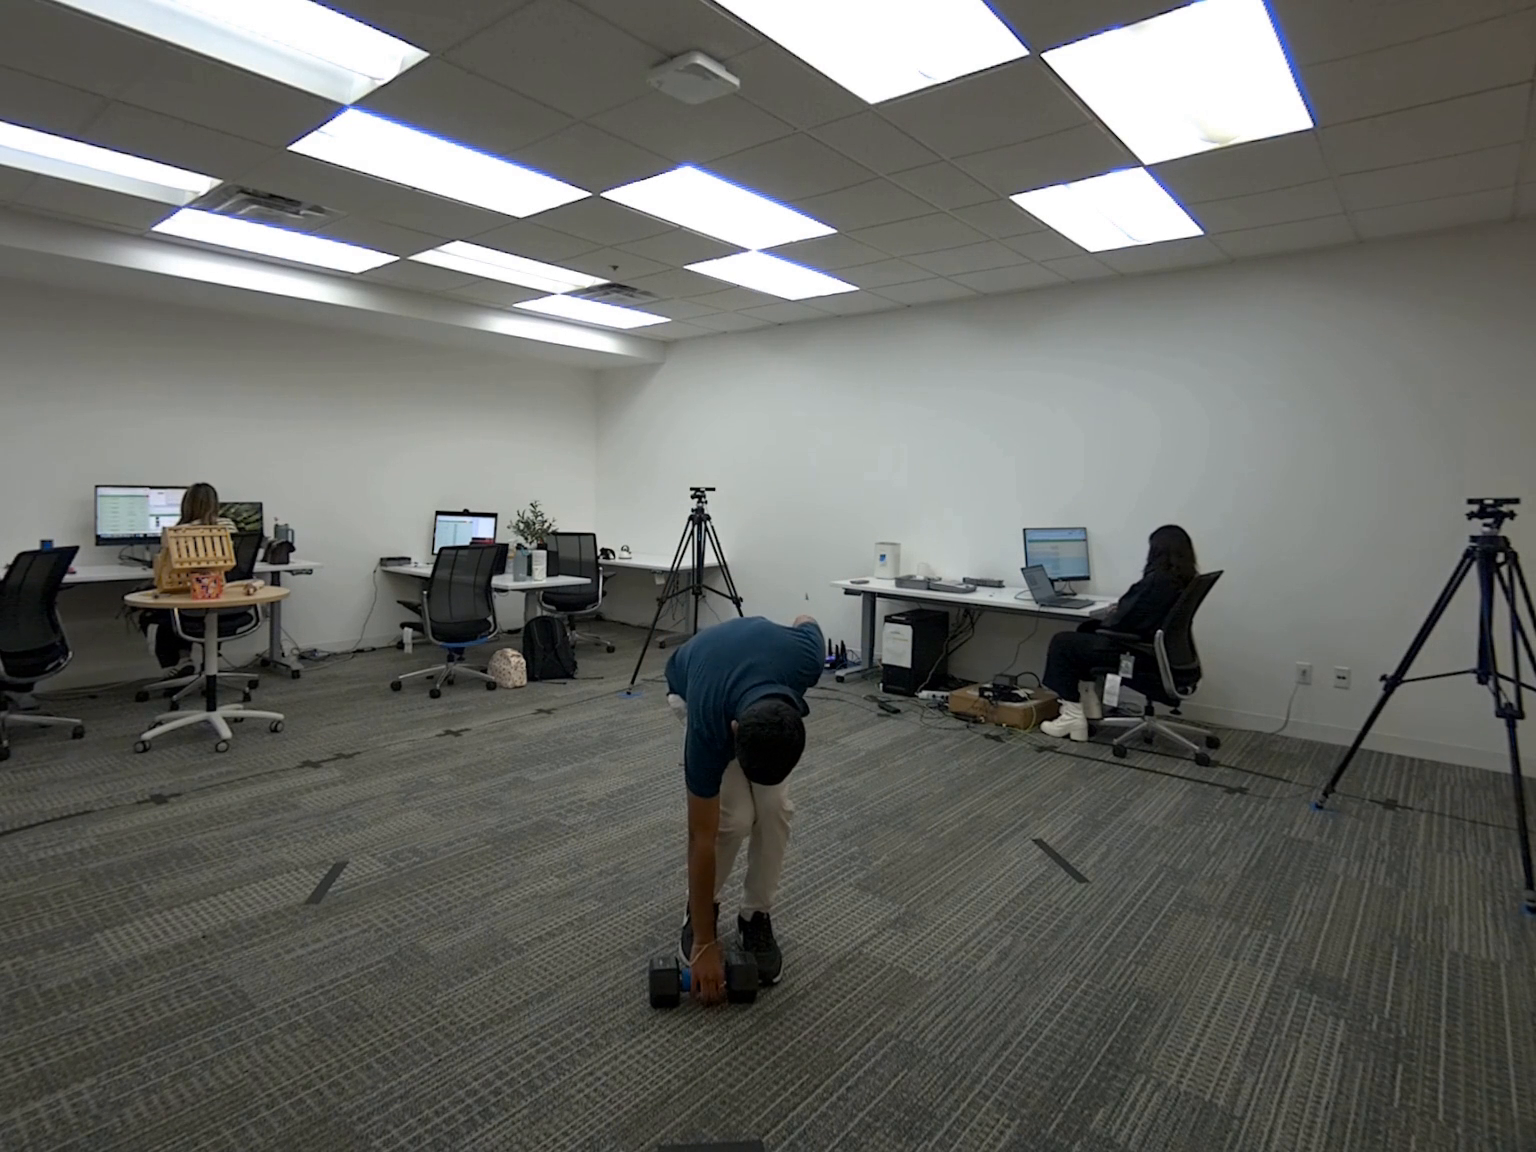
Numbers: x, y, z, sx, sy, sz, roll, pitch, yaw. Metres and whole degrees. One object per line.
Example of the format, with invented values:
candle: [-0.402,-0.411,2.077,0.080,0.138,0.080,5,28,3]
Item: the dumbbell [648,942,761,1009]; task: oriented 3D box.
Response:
dumbbell: [-0.184,1.090,2.316,0.291,0.108,0.125,1,8,-8]
